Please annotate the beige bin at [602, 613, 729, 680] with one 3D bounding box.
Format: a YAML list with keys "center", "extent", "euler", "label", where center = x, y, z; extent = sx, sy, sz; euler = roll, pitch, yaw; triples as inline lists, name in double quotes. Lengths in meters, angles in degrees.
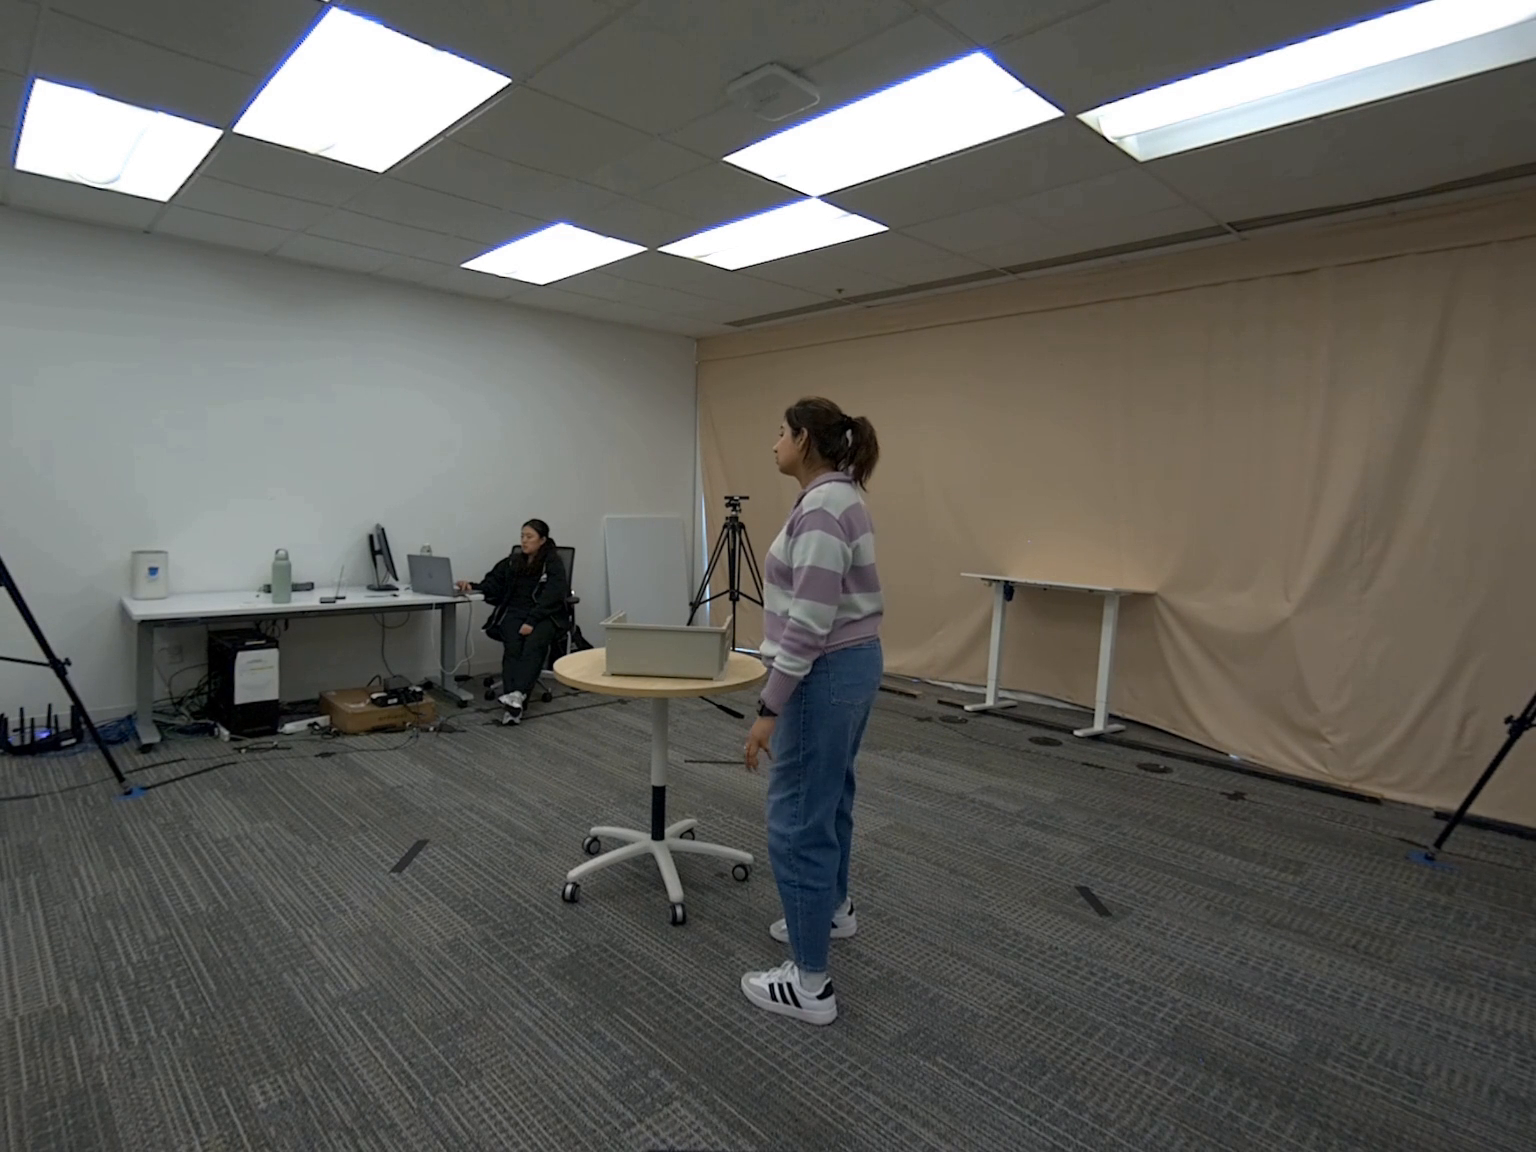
- center: [-0.355, 0.238, 2.988]
  extent: [0.424, 0.188, 0.377]
  euler: [3, 6, 4]
  label: "beige bin"
